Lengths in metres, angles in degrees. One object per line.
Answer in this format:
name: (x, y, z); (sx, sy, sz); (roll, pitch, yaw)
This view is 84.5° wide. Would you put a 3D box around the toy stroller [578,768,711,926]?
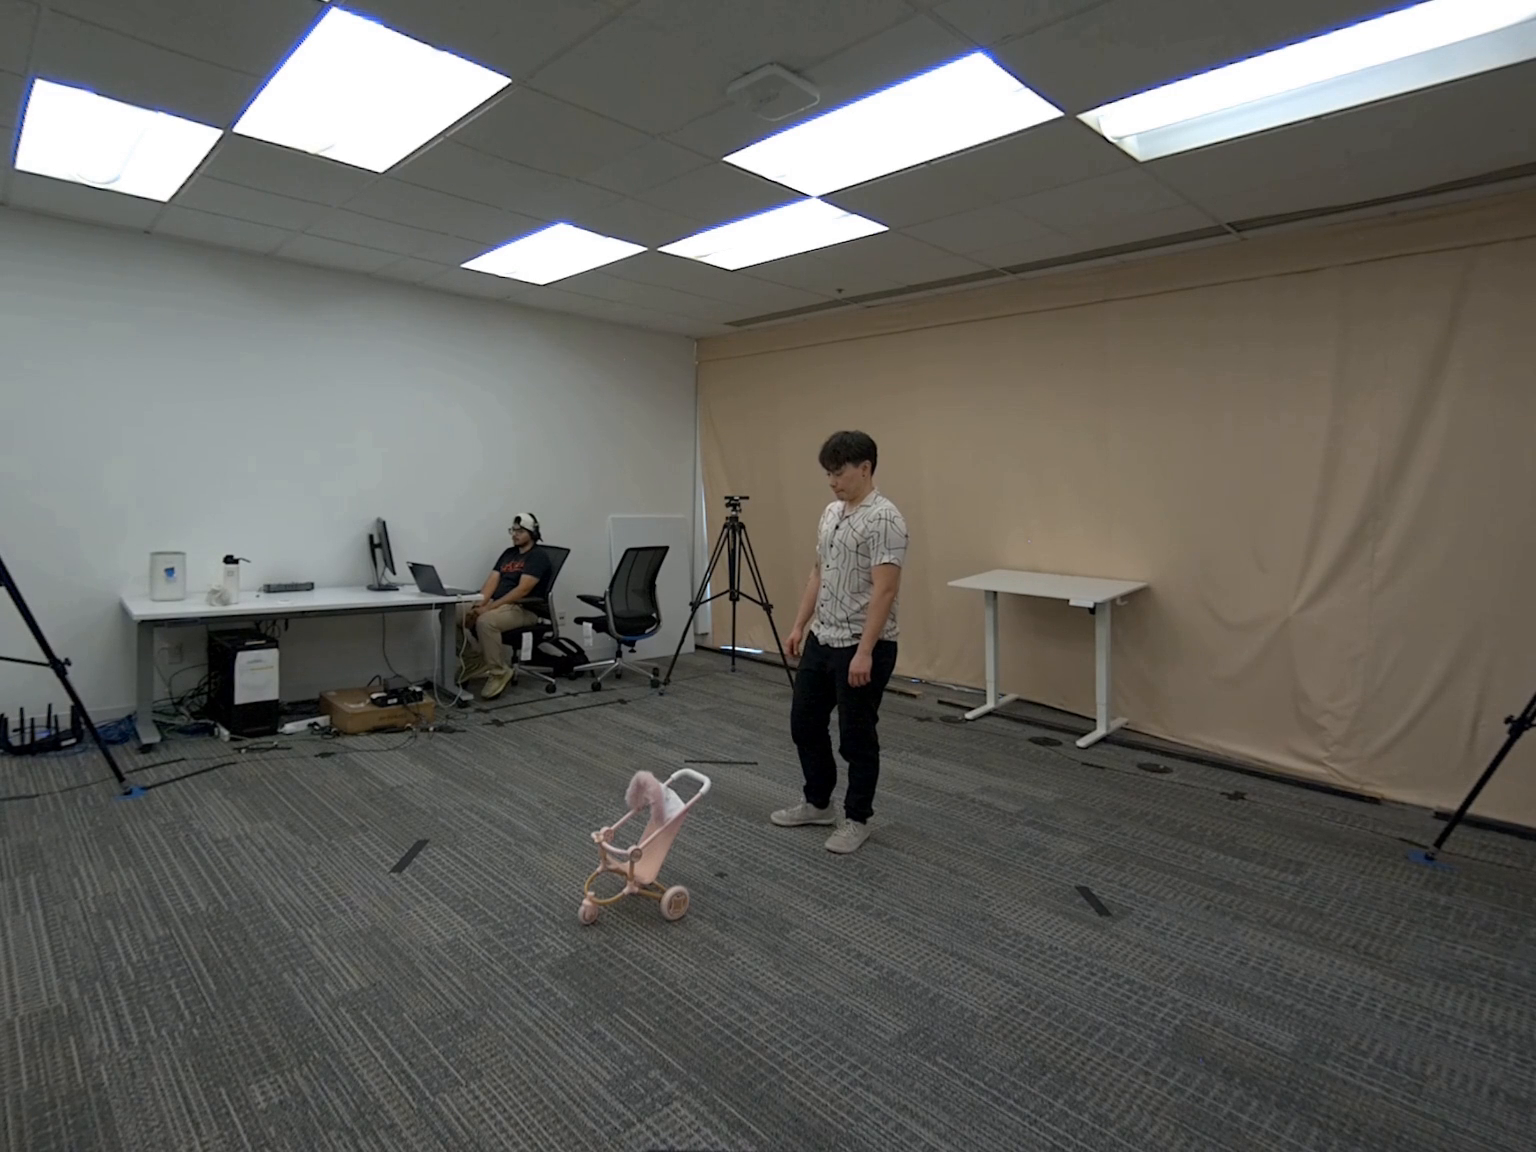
toy stroller: (-0.432, 0.900, 2.823); (0.332, 0.536, 0.288); (19, -7, -33)
